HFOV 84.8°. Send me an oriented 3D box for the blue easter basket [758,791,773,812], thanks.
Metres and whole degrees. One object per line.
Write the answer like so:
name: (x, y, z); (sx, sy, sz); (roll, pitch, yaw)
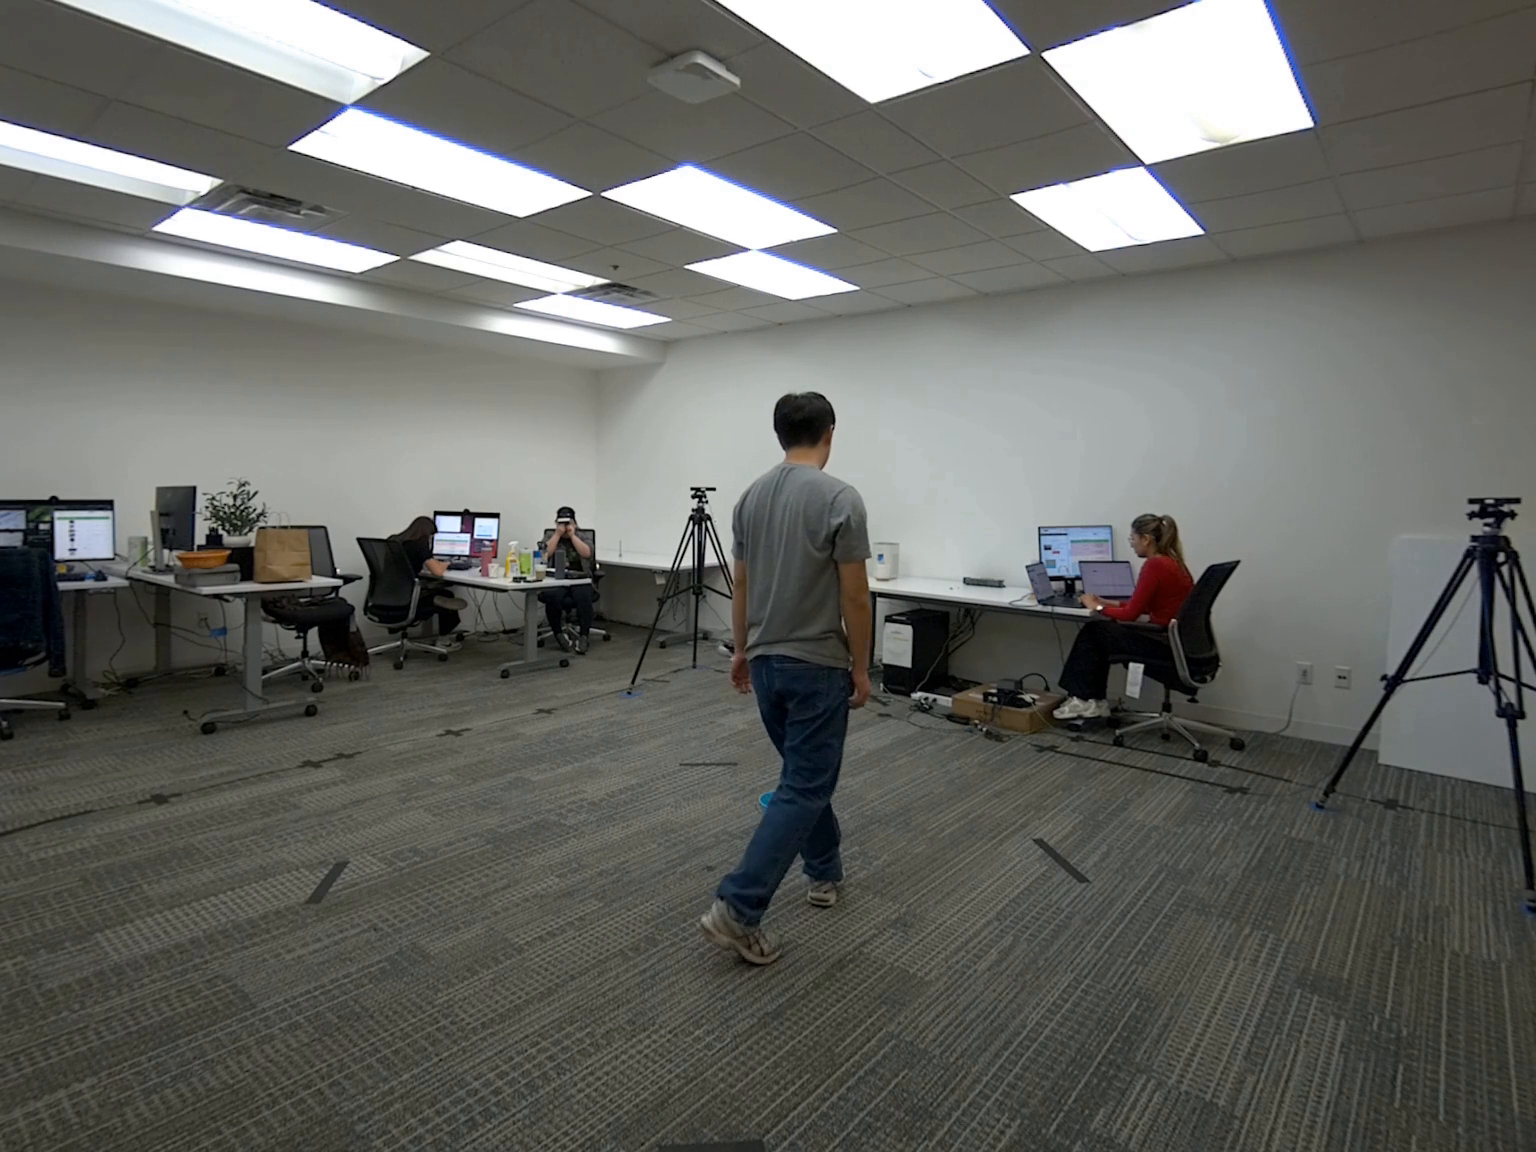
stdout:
blue easter basket: (0.073, 0.960, 3.393); (0.243, 0.155, 0.245); (0, 5, -2)
